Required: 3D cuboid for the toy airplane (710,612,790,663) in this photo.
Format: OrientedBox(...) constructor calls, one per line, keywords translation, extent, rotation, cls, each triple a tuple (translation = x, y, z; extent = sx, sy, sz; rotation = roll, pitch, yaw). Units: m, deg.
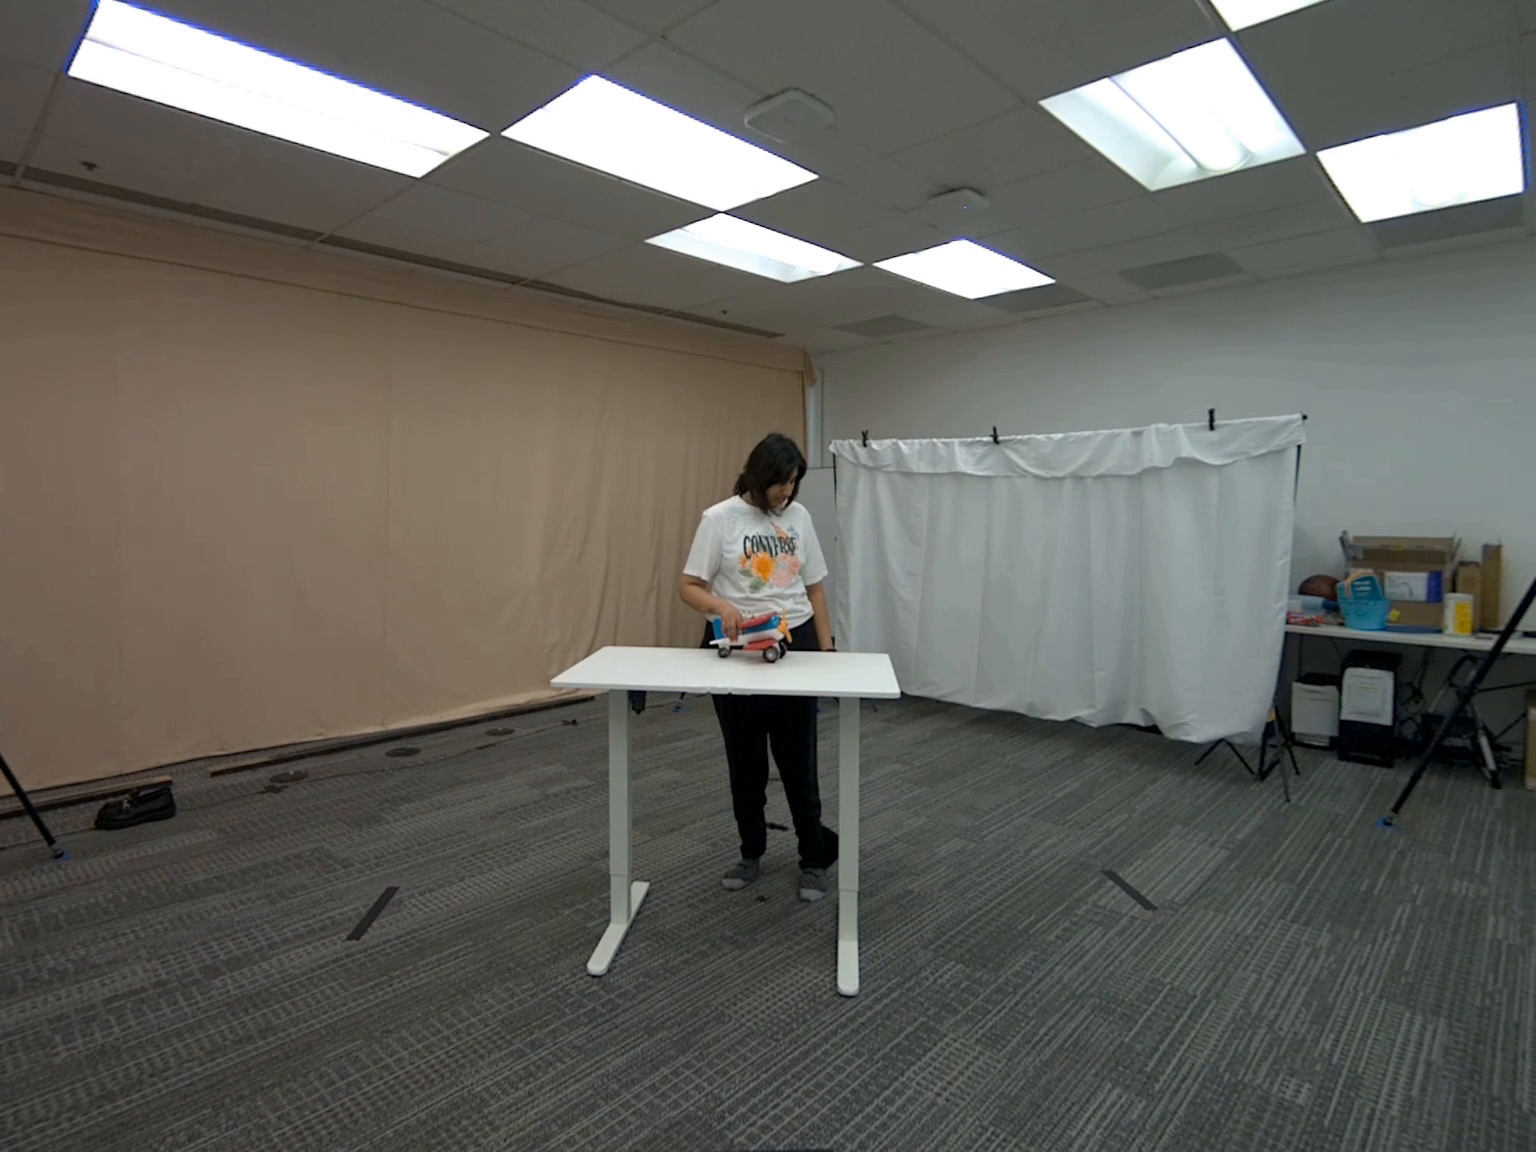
OrientedBox(translation=(-0.054, 0.199, 2.782), extent=(0.257, 0.156, 0.254), rotation=(0, 5, -9), cls="toy airplane")
